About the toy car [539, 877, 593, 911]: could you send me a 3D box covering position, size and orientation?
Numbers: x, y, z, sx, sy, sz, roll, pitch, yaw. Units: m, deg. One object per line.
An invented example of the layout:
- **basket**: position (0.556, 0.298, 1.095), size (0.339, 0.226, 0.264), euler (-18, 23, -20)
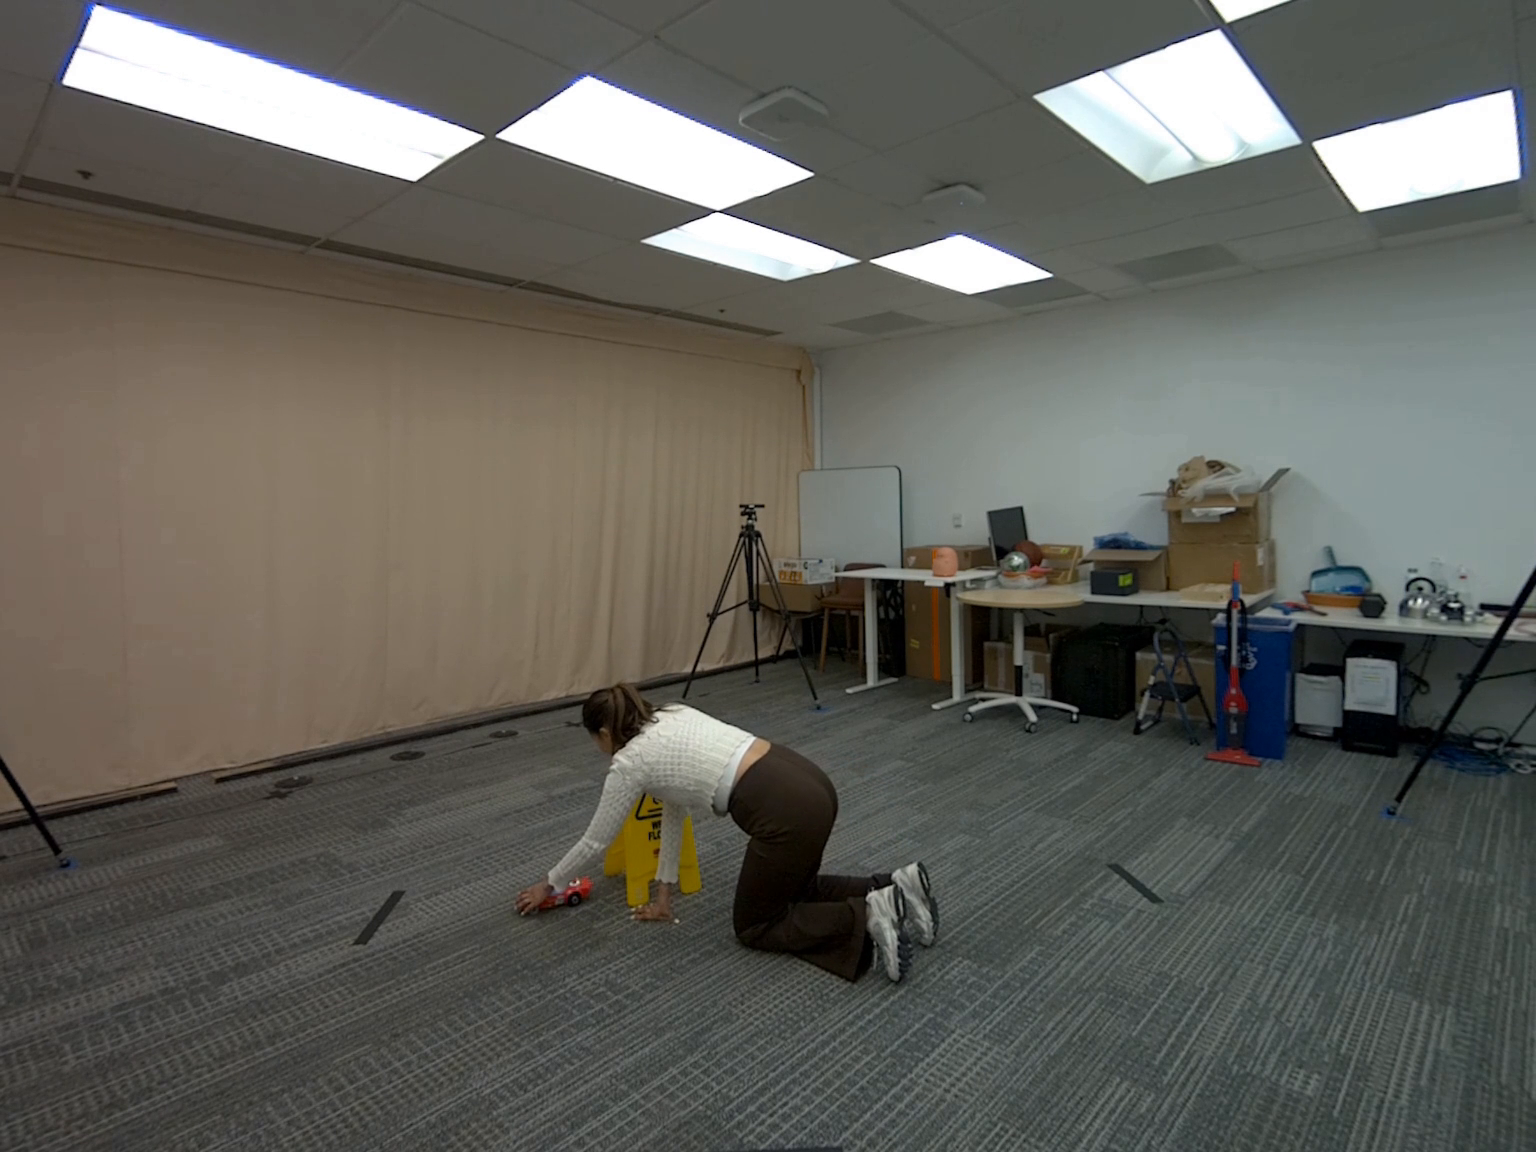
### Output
- **toy car**: position (-0.742, 1.131, 2.981), size (0.250, 0.083, 0.133), euler (-16, 7, -22)
